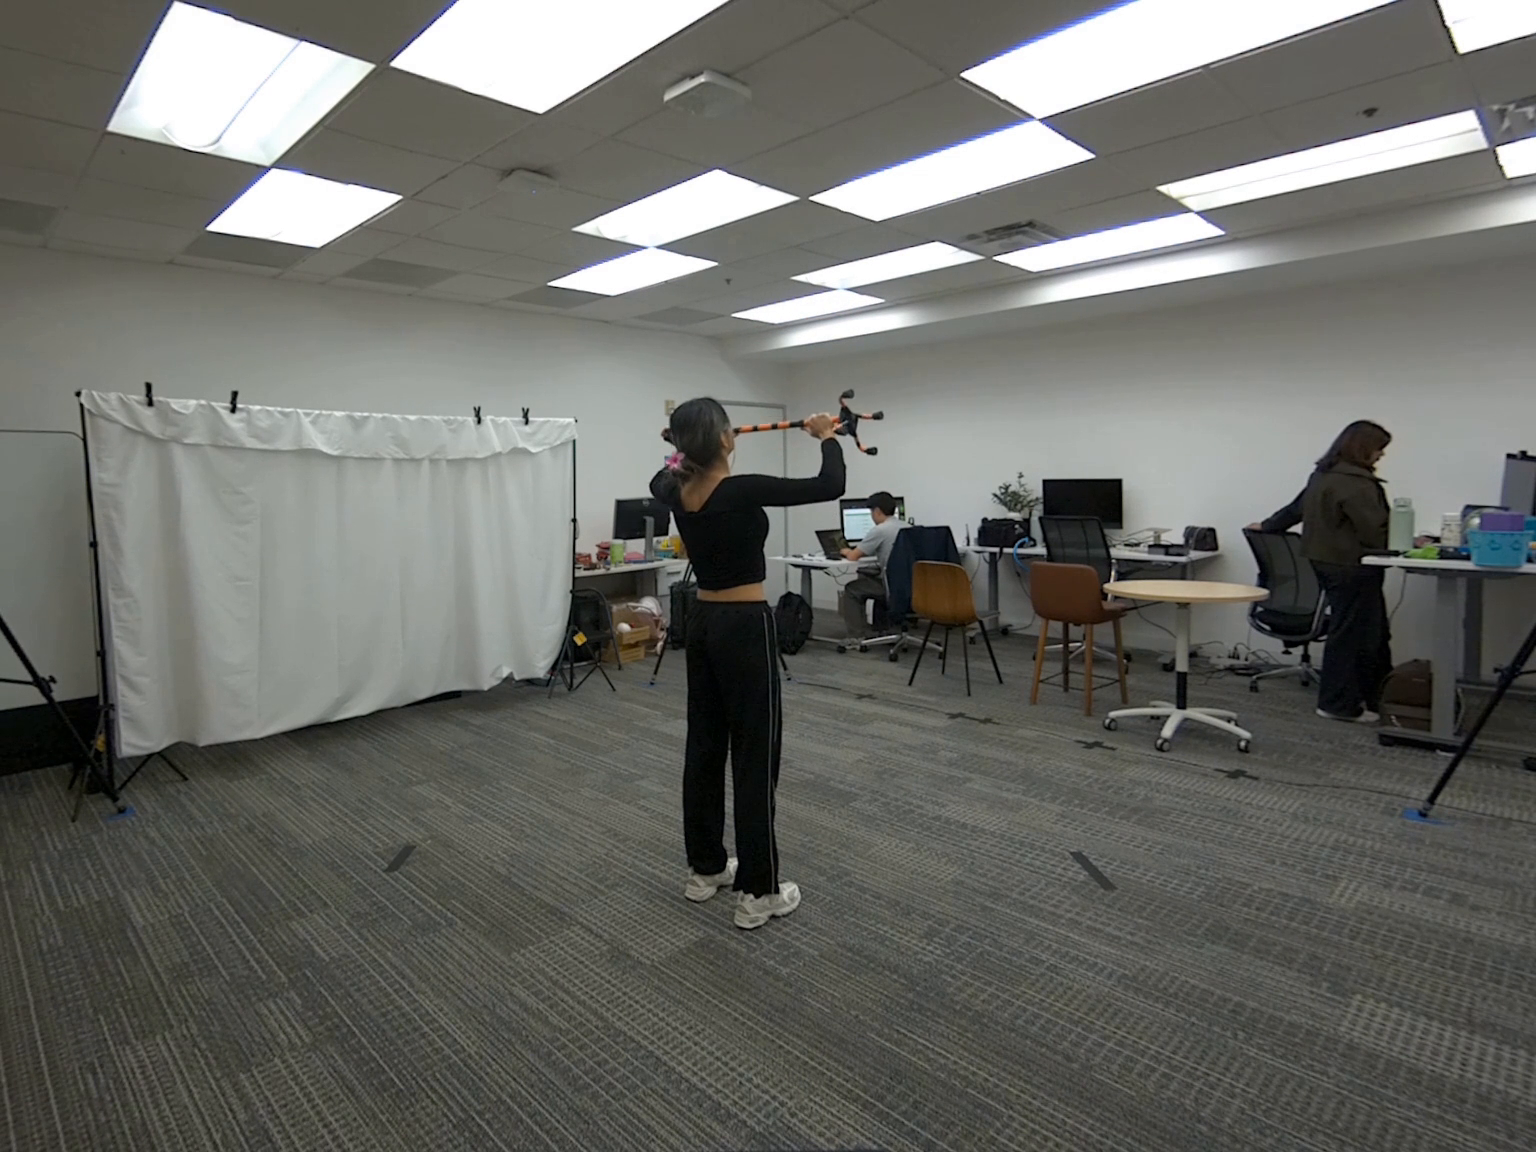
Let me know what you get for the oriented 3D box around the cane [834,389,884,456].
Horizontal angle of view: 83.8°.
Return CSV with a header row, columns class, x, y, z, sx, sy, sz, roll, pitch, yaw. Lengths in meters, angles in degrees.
class,x,y,z,sx,sy,sz,roll,pitch,yaw
cane,-0.048,-0.505,2.997,0.935,0.153,0.199,3,-13,42
